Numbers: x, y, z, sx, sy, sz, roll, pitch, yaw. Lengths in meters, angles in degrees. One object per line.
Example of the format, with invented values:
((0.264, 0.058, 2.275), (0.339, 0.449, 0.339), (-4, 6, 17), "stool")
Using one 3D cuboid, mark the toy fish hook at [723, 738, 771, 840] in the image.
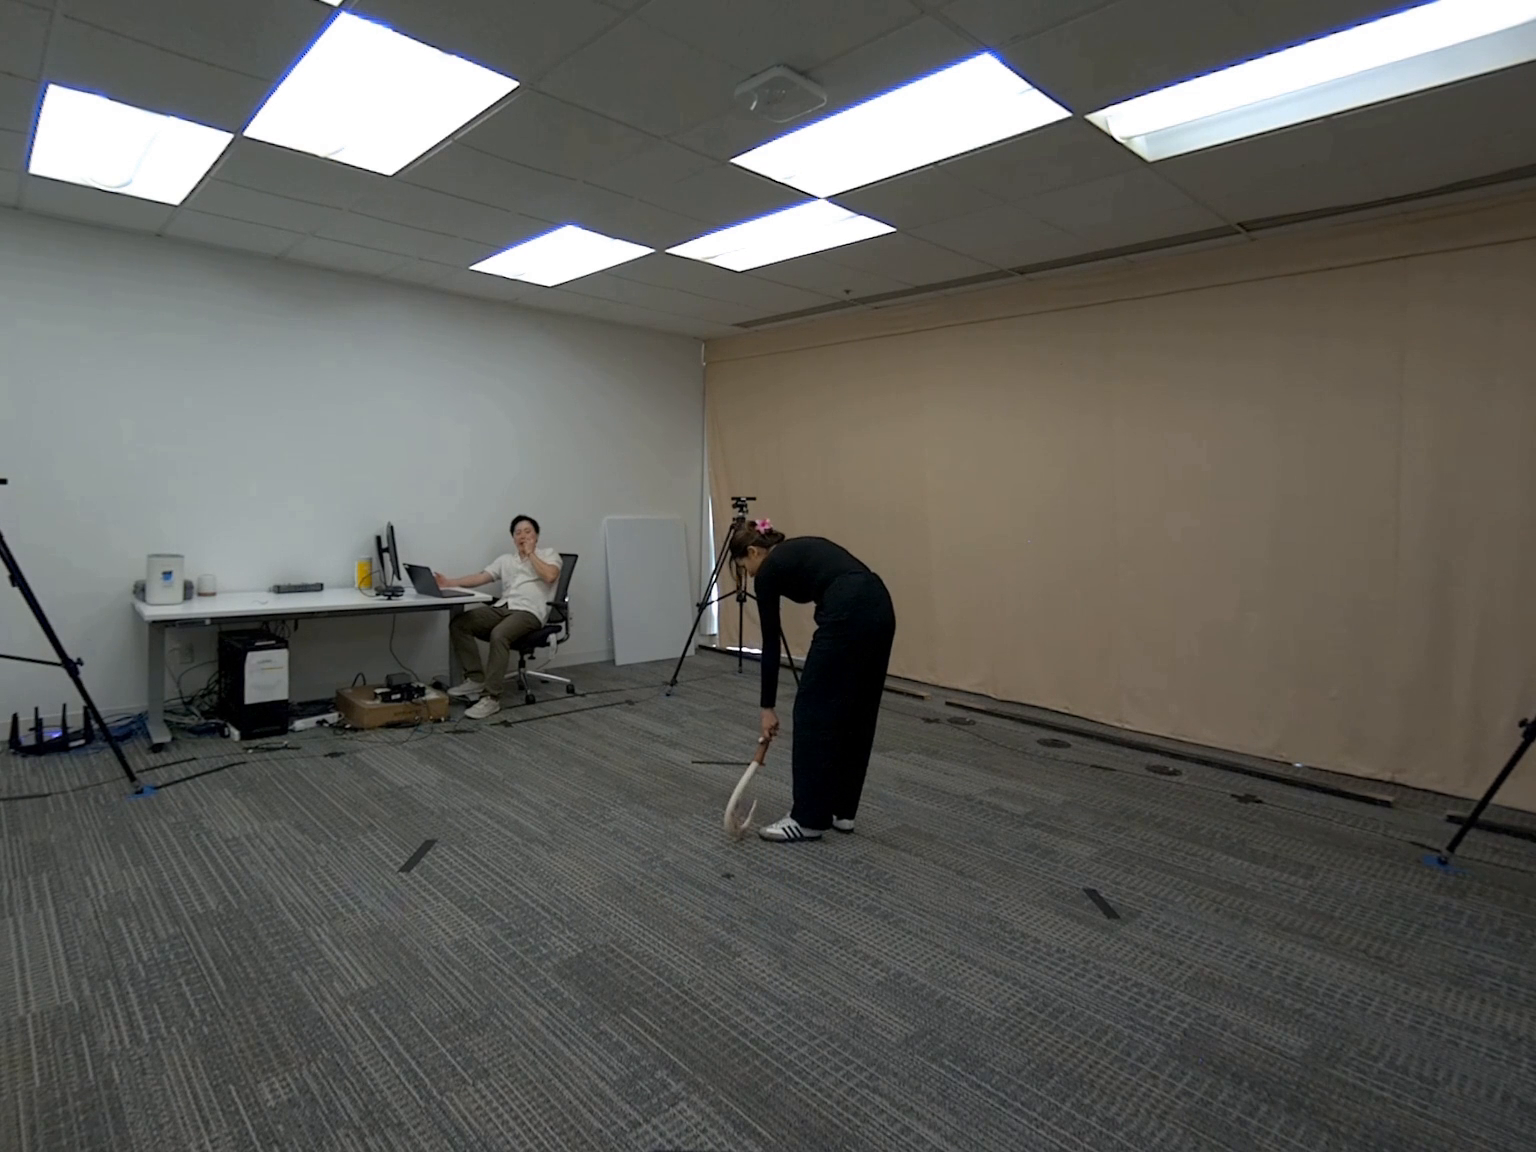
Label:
((-0.065, 0.846, 3.505), (0.049, 0.511, 0.218), (10, -31, 26), "toy fish hook")
